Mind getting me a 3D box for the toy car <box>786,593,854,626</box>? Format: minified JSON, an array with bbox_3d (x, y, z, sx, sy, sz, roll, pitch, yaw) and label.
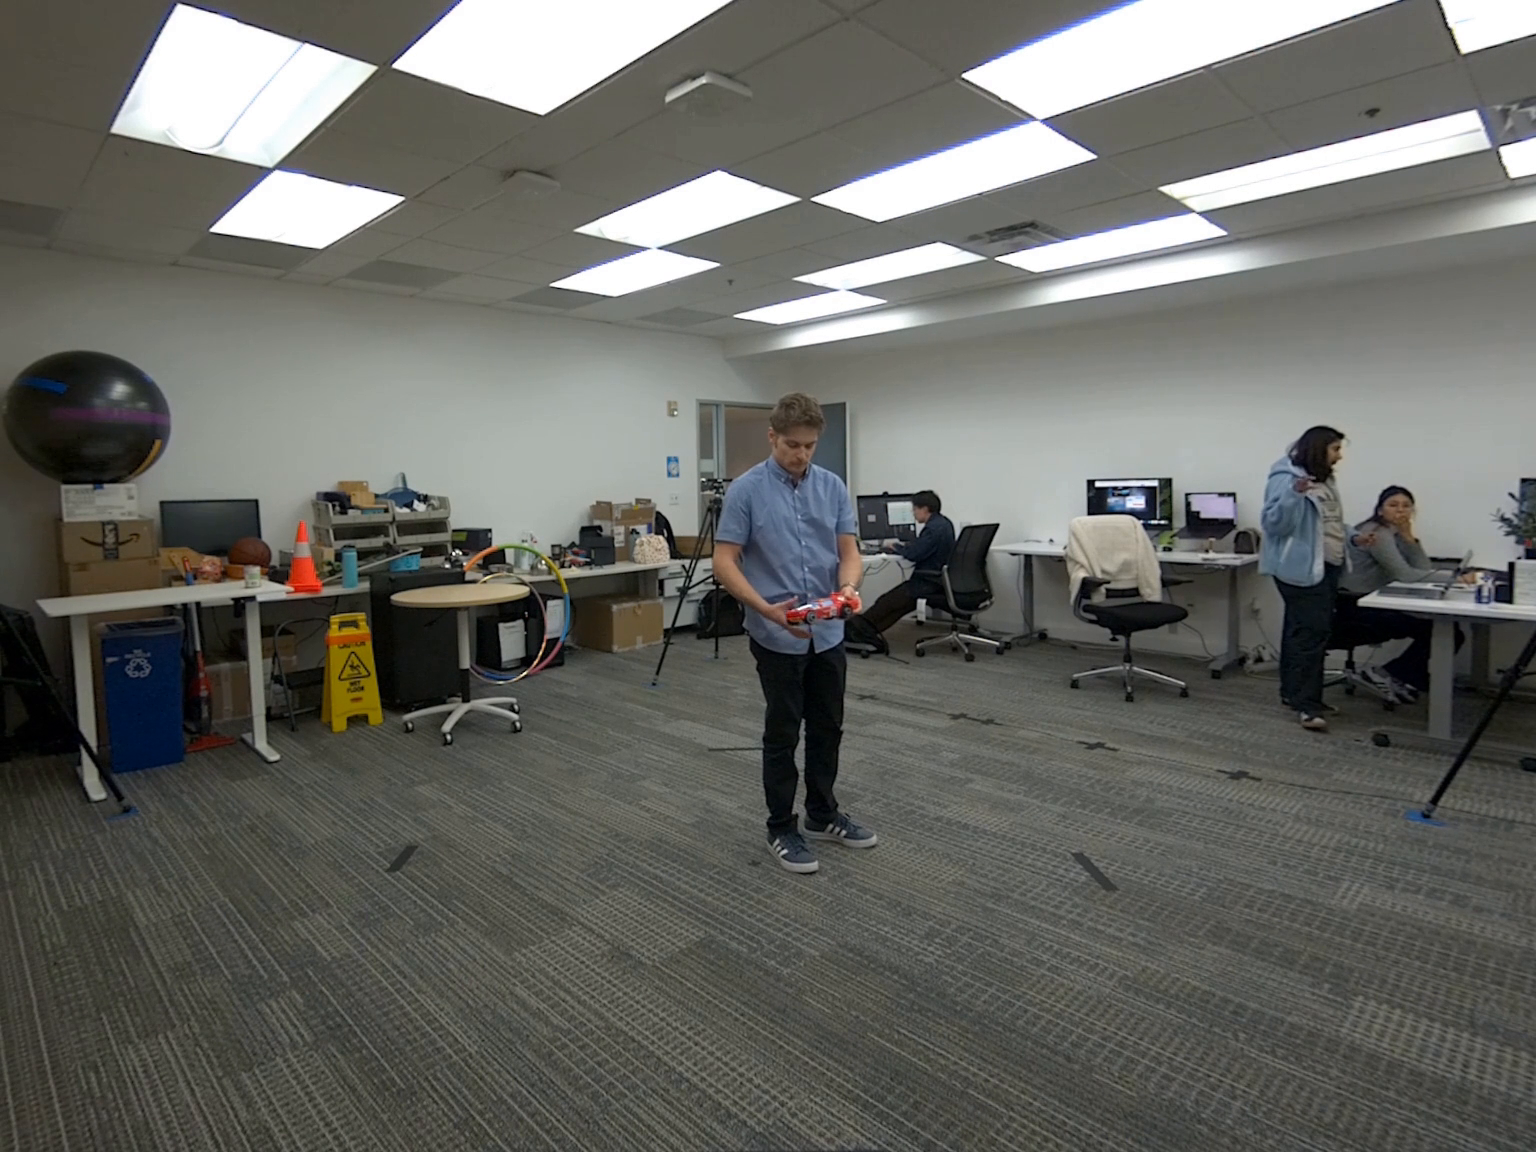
[{"bbox_3d":[0.178,0.116,2.761,0.250,0.083,0.133,-17,6,-32],"label":"toy car"}]
